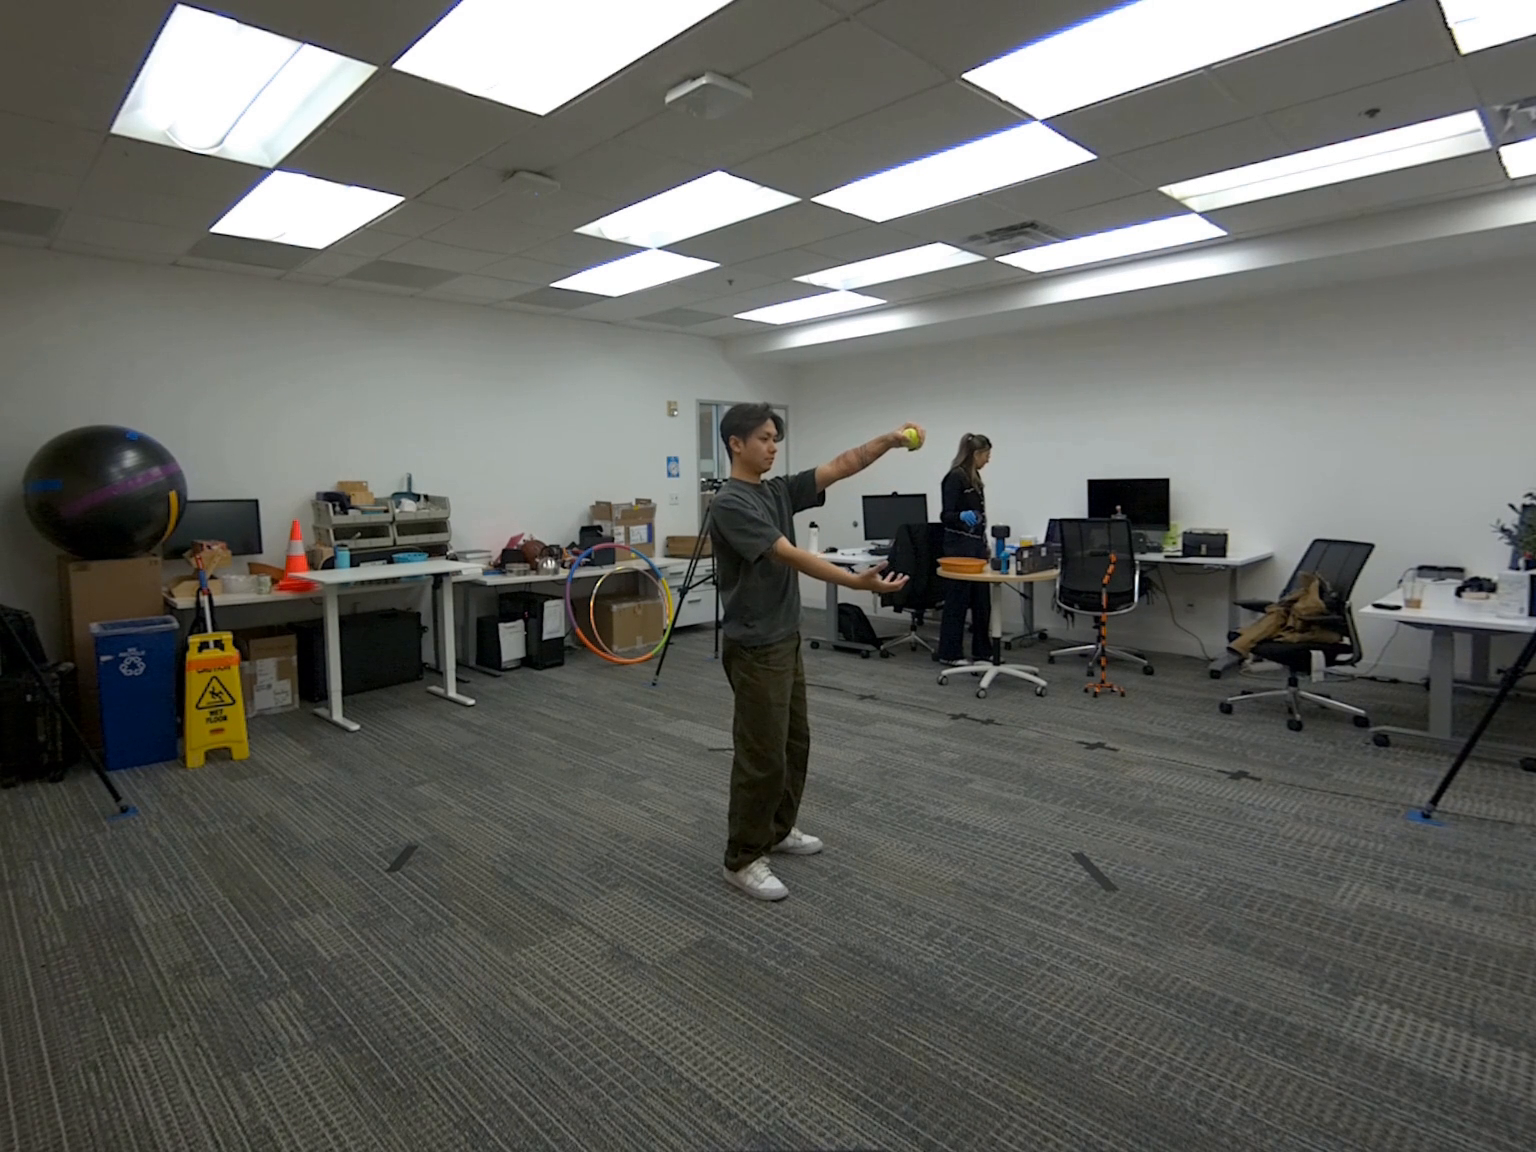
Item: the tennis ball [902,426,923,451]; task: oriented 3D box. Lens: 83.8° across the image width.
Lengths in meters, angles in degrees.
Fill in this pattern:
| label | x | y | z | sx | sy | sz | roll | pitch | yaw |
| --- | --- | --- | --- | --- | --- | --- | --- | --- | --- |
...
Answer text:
| label | x | y | z | sx | sy | sz | roll | pitch | yaw |
| --- | --- | --- | --- | --- | --- | --- | --- | --- | --- |
| tennis ball | 0.495 | -0.462 | 2.868 | 0.066 | 0.066 | 0.067 | -1 | 5 | -2 |
